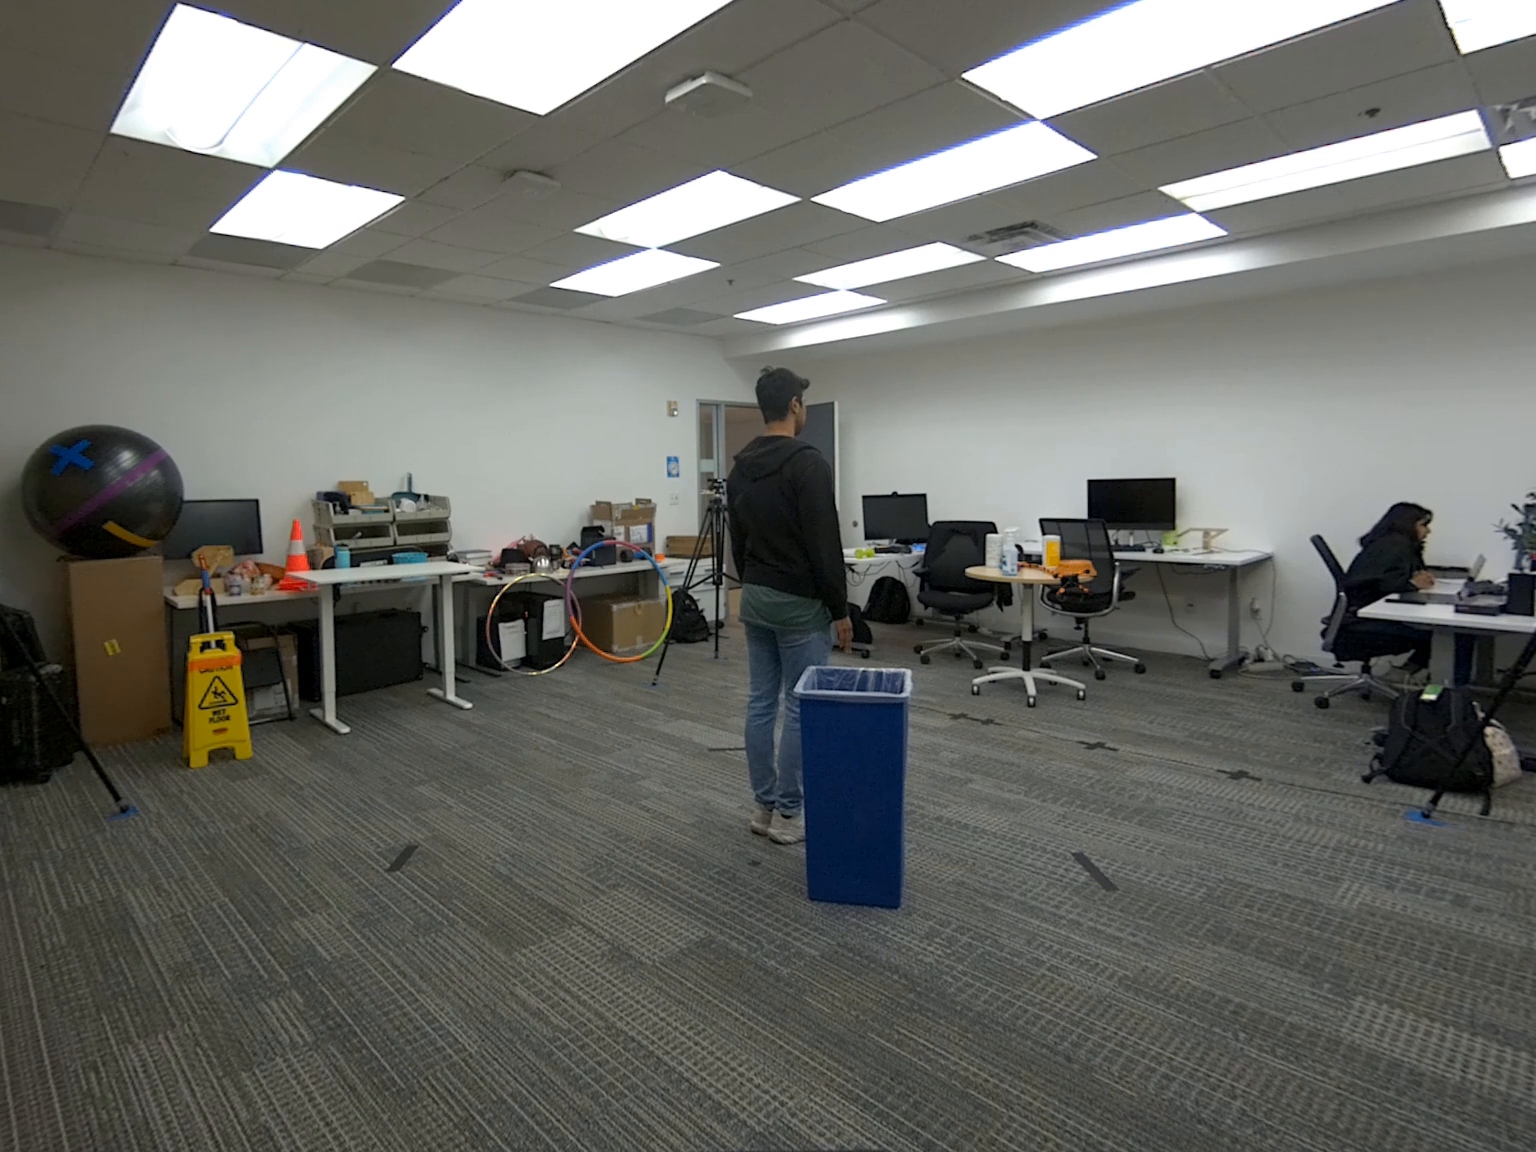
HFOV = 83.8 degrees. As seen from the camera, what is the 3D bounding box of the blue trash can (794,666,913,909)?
[{"bbox_3d":[0.299,0.703,2.907,0.379,0.711,0.375,1,5,13],"label":"blue trash can"}]
